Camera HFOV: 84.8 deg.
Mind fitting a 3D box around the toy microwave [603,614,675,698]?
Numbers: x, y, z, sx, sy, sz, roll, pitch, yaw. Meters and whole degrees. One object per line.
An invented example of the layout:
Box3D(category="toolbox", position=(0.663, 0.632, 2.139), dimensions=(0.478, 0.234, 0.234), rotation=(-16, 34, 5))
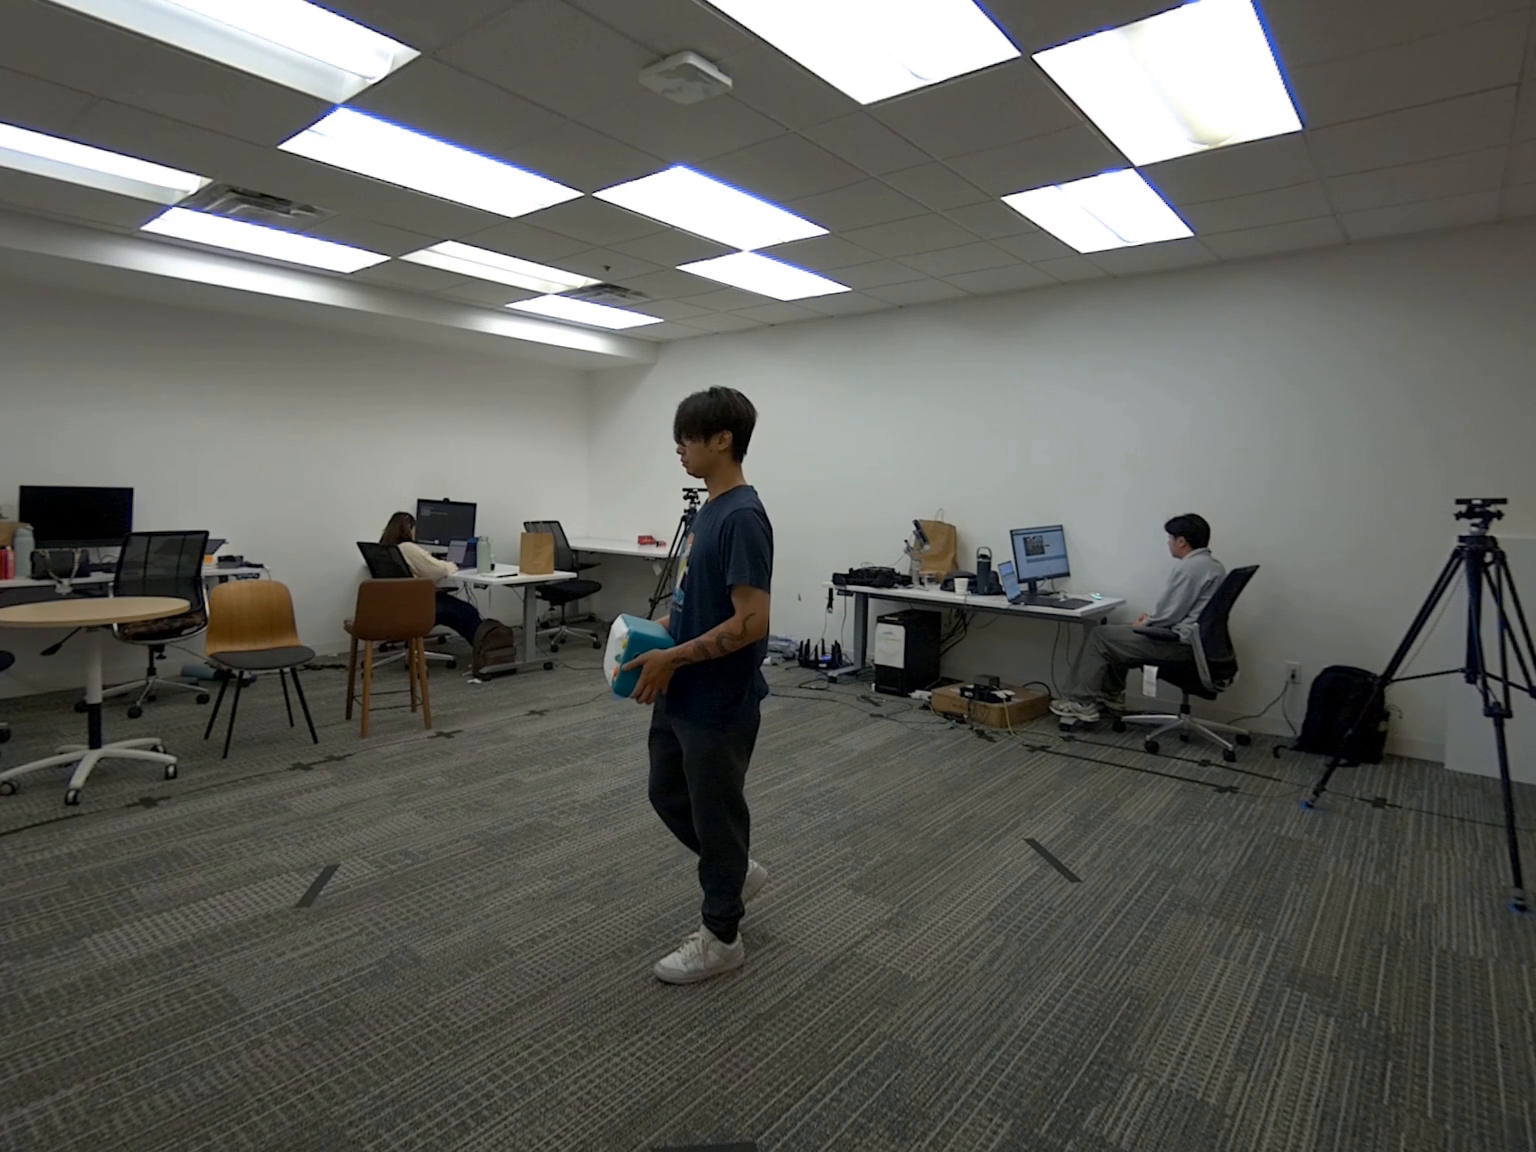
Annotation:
Box3D(category="toy microwave", position=(-0.382, 0.220, 2.394), dimensions=(0.149, 0.184, 0.292), rotation=(15, 3, -16))
